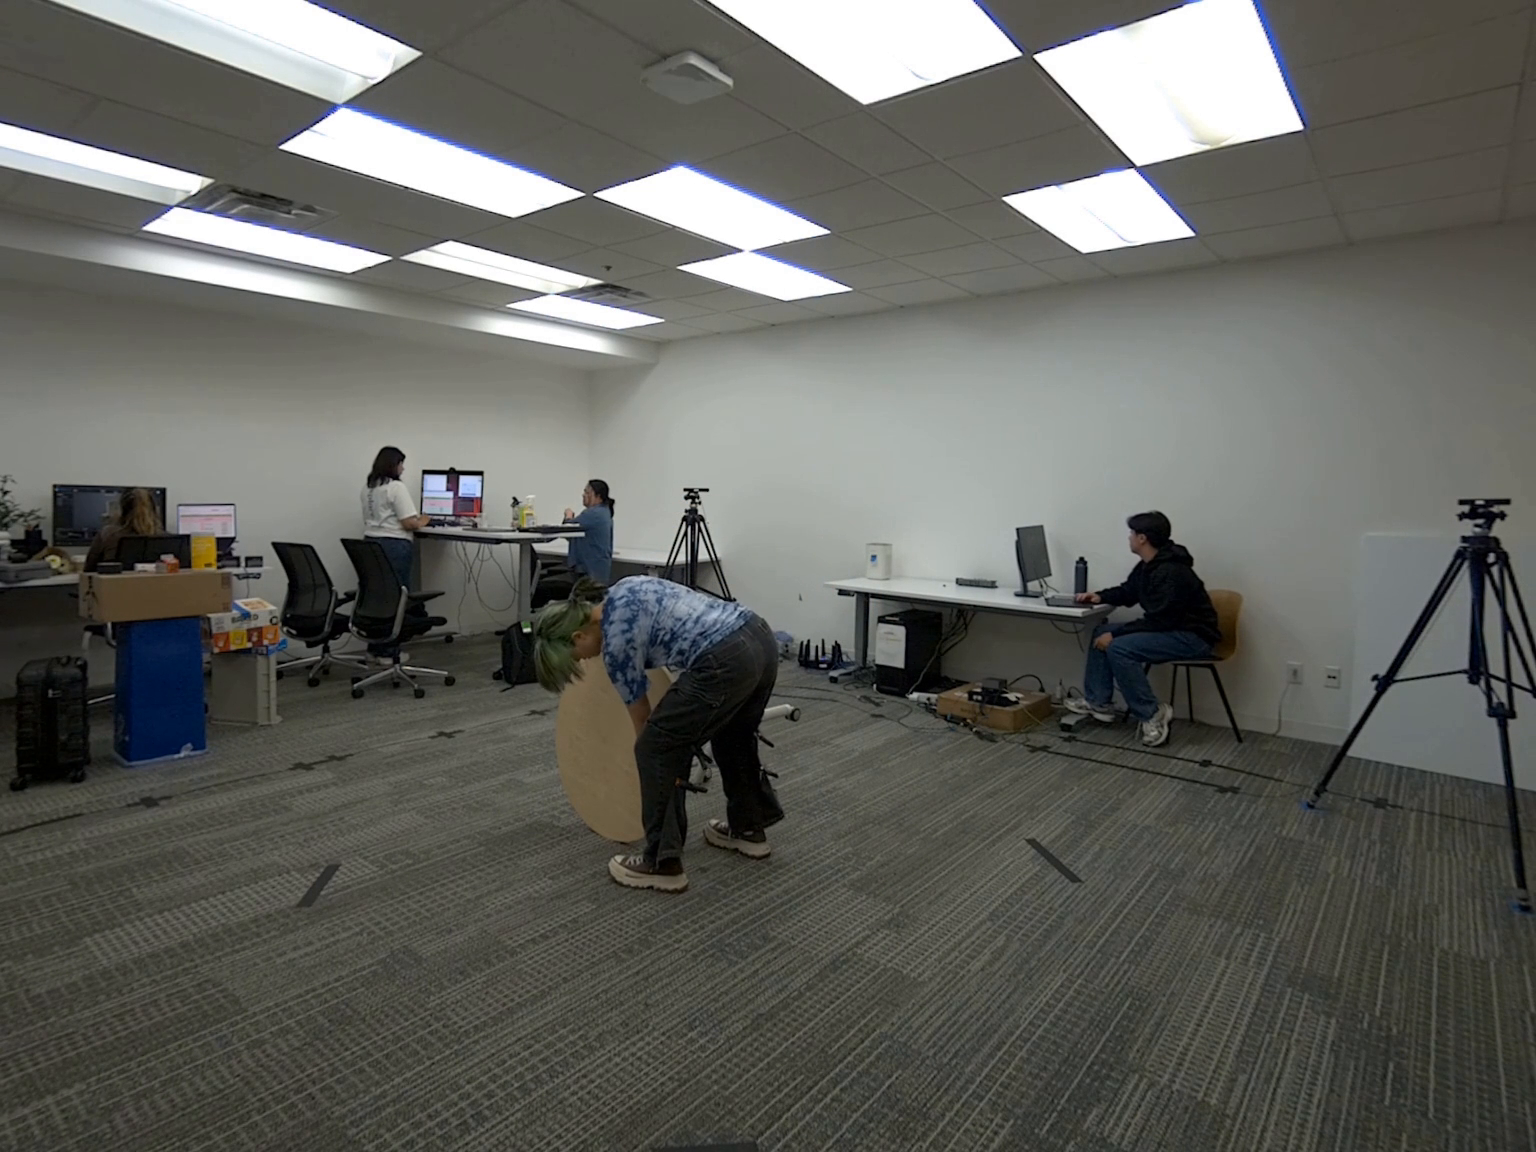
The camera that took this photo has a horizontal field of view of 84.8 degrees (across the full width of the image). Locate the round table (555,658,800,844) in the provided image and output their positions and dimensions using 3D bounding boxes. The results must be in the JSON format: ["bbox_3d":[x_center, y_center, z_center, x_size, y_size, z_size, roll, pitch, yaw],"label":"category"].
[{"bbox_3d":[-0.380,0.671,3.681,0.789,0.765,0.767,4,-1,39],"label":"round table"}]
